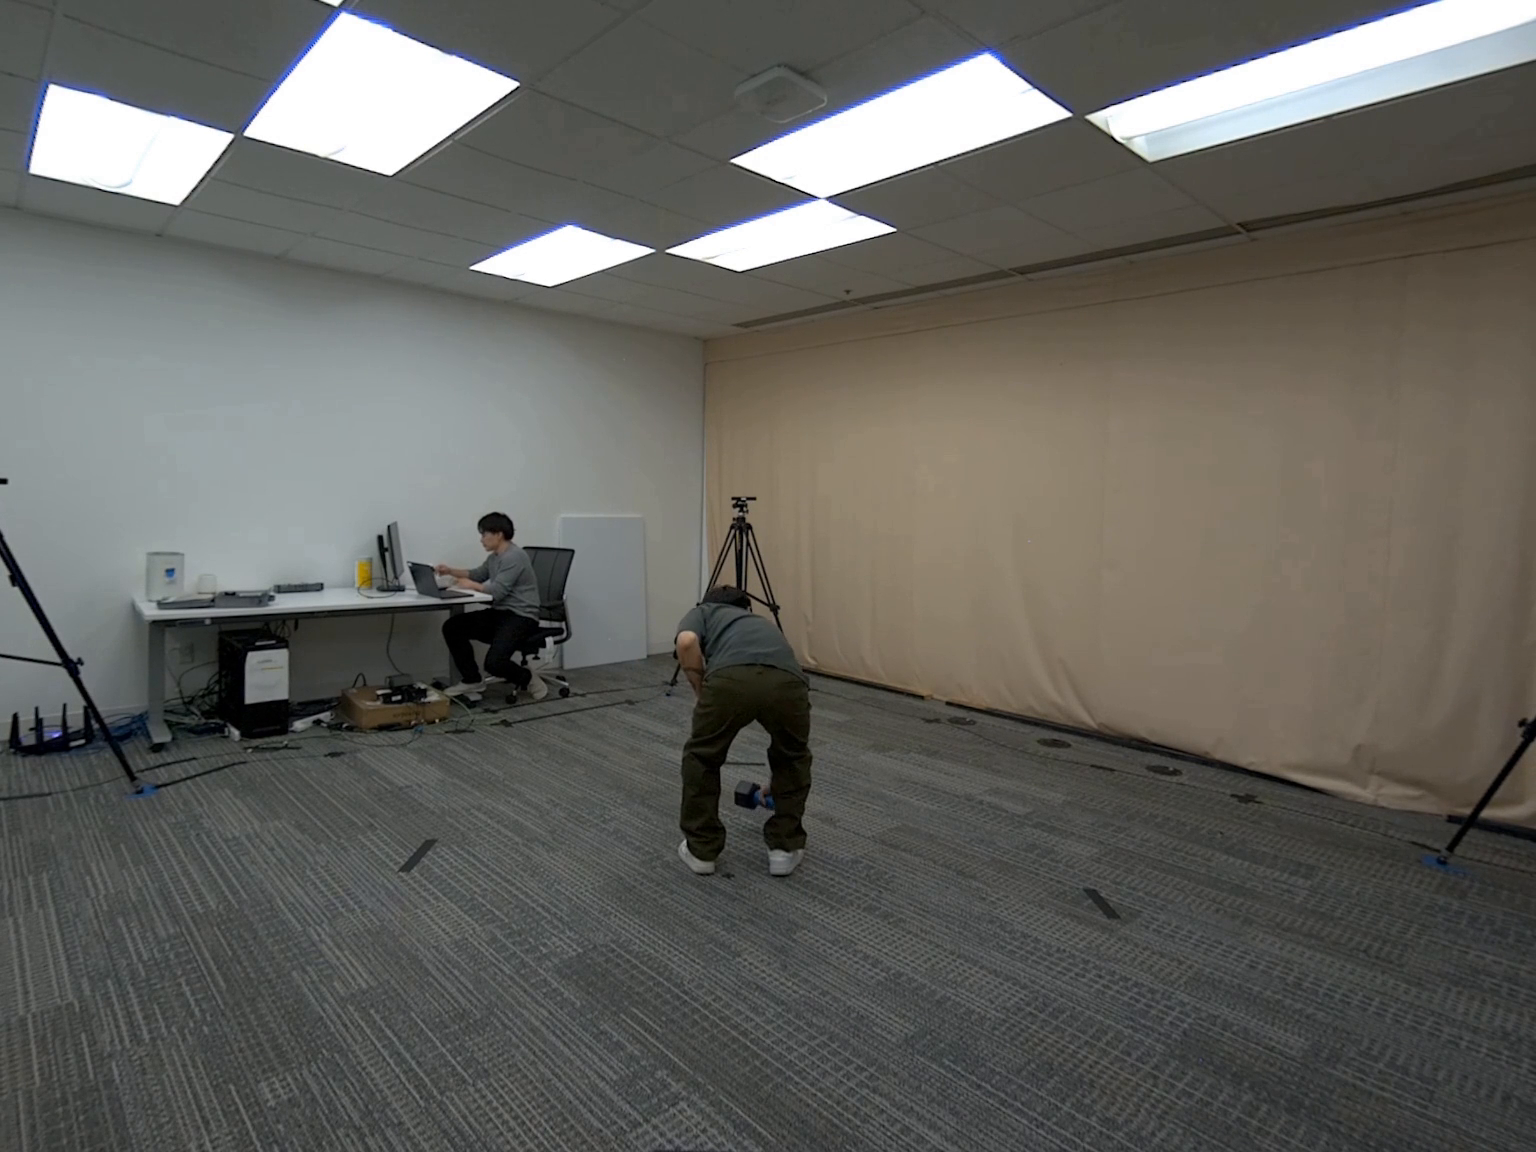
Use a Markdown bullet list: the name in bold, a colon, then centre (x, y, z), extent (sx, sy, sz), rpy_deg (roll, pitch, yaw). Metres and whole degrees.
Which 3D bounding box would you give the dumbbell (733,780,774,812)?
- **dumbbell**: centre (-0.001, 0.925, 3.493), extent (0.300, 0.106, 0.123), rpy_deg (7, 42, 33)
